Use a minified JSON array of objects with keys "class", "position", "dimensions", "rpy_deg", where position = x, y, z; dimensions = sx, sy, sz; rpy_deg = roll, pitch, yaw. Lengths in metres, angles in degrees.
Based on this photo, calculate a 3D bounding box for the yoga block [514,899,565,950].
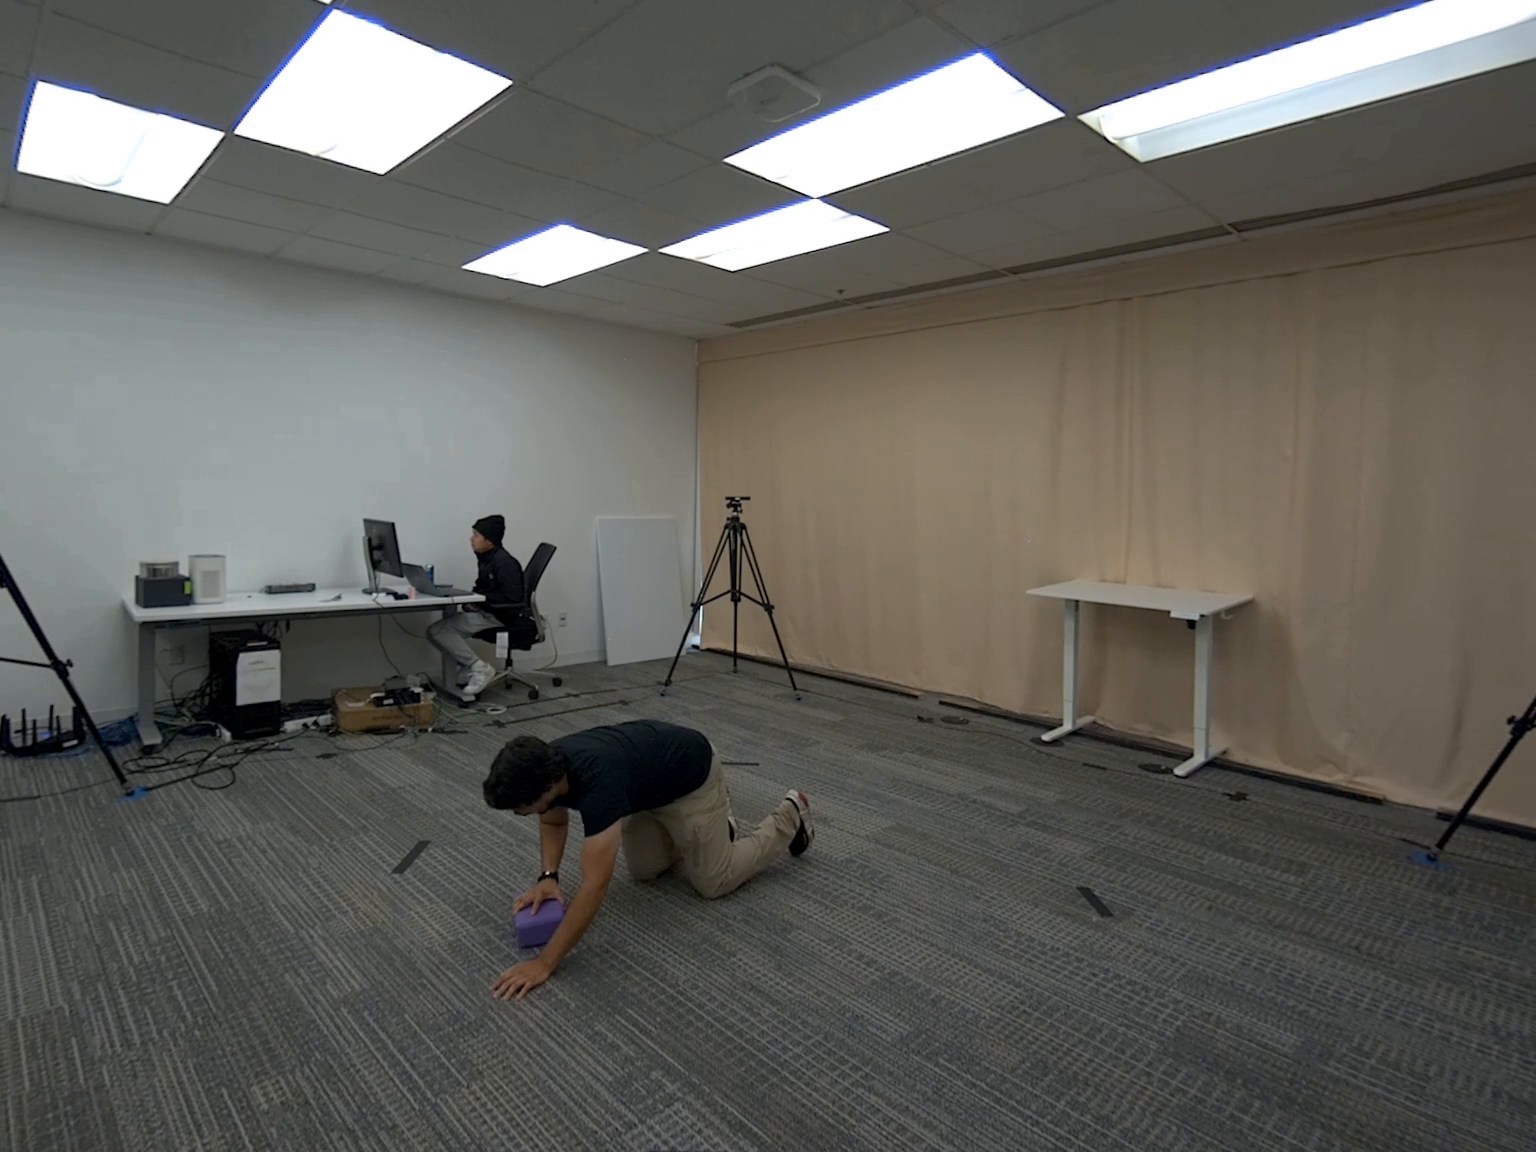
[{"class":"yoga block","position":[-0.745,1.088,2.691],"dimensions":[0.147,0.076,0.233],"rpy_deg":[-5,7,-15]}]
